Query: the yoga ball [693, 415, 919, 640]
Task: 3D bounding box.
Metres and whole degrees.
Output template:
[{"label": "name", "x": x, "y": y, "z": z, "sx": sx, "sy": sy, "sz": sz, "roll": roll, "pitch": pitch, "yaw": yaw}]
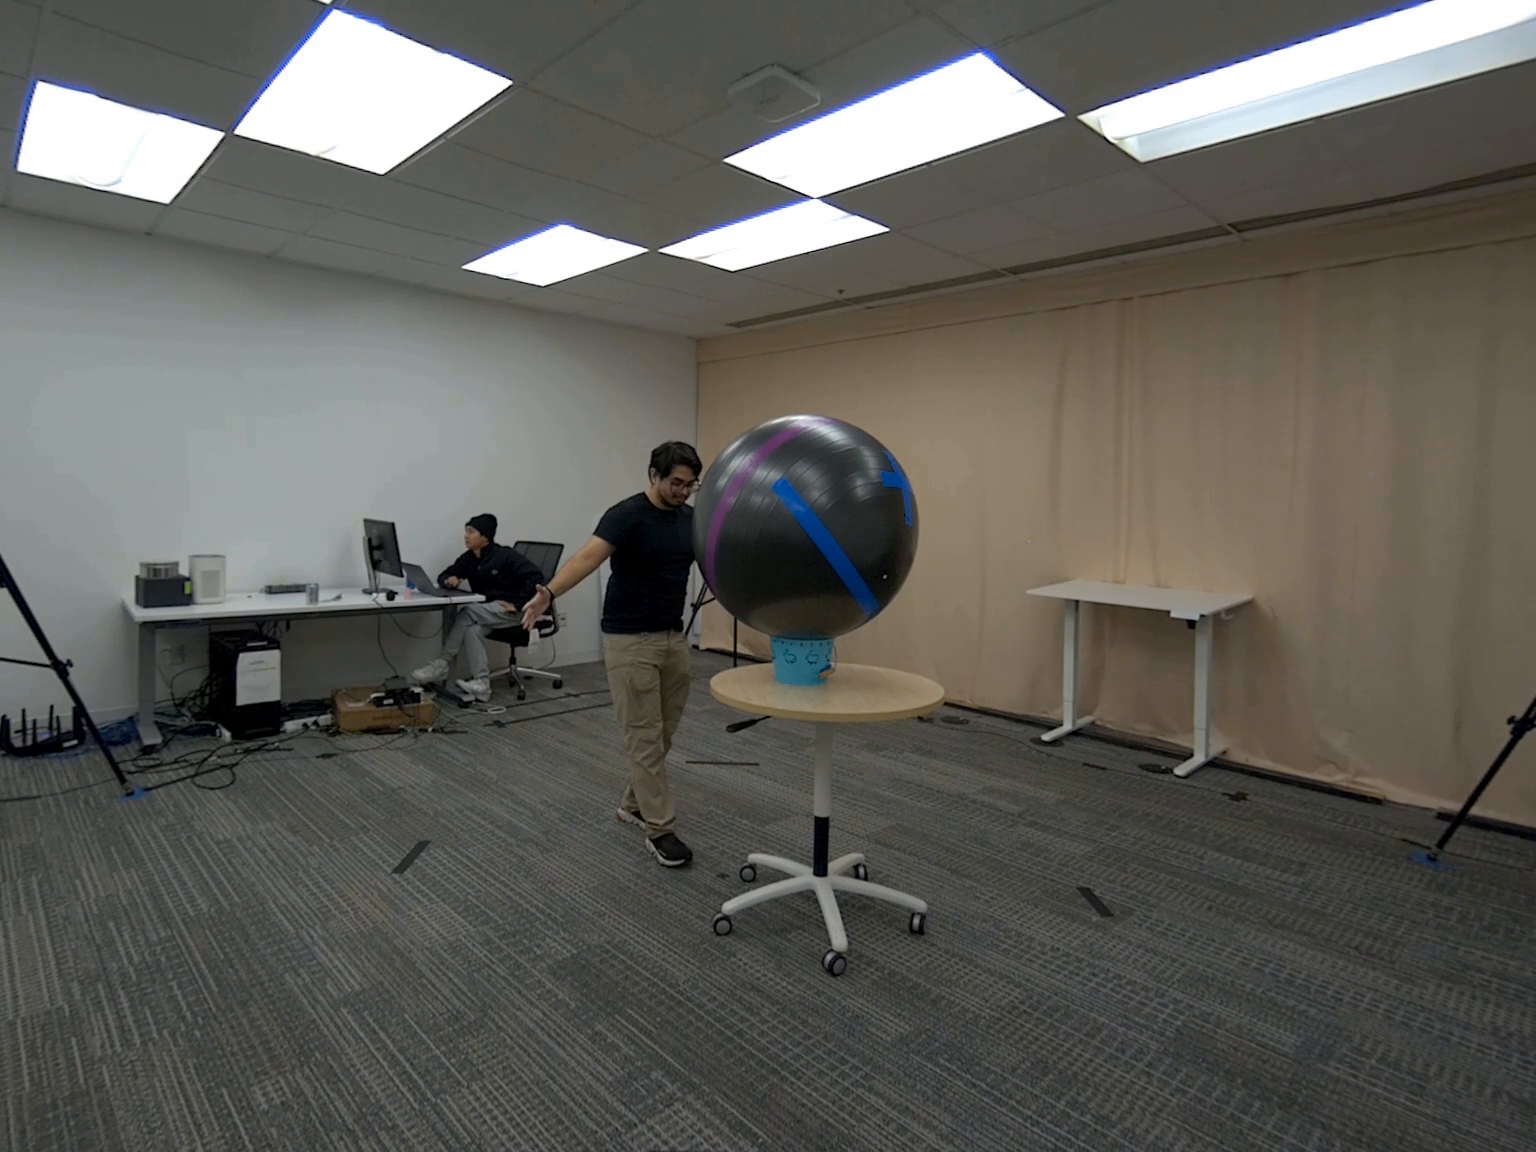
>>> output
[{"label": "yoga ball", "x": 0.115, "y": -0.155, "z": 2.838, "sx": 0.757, "sy": 0.756, "sz": 0.761, "roll": 1, "pitch": 4, "yaw": -1}]
